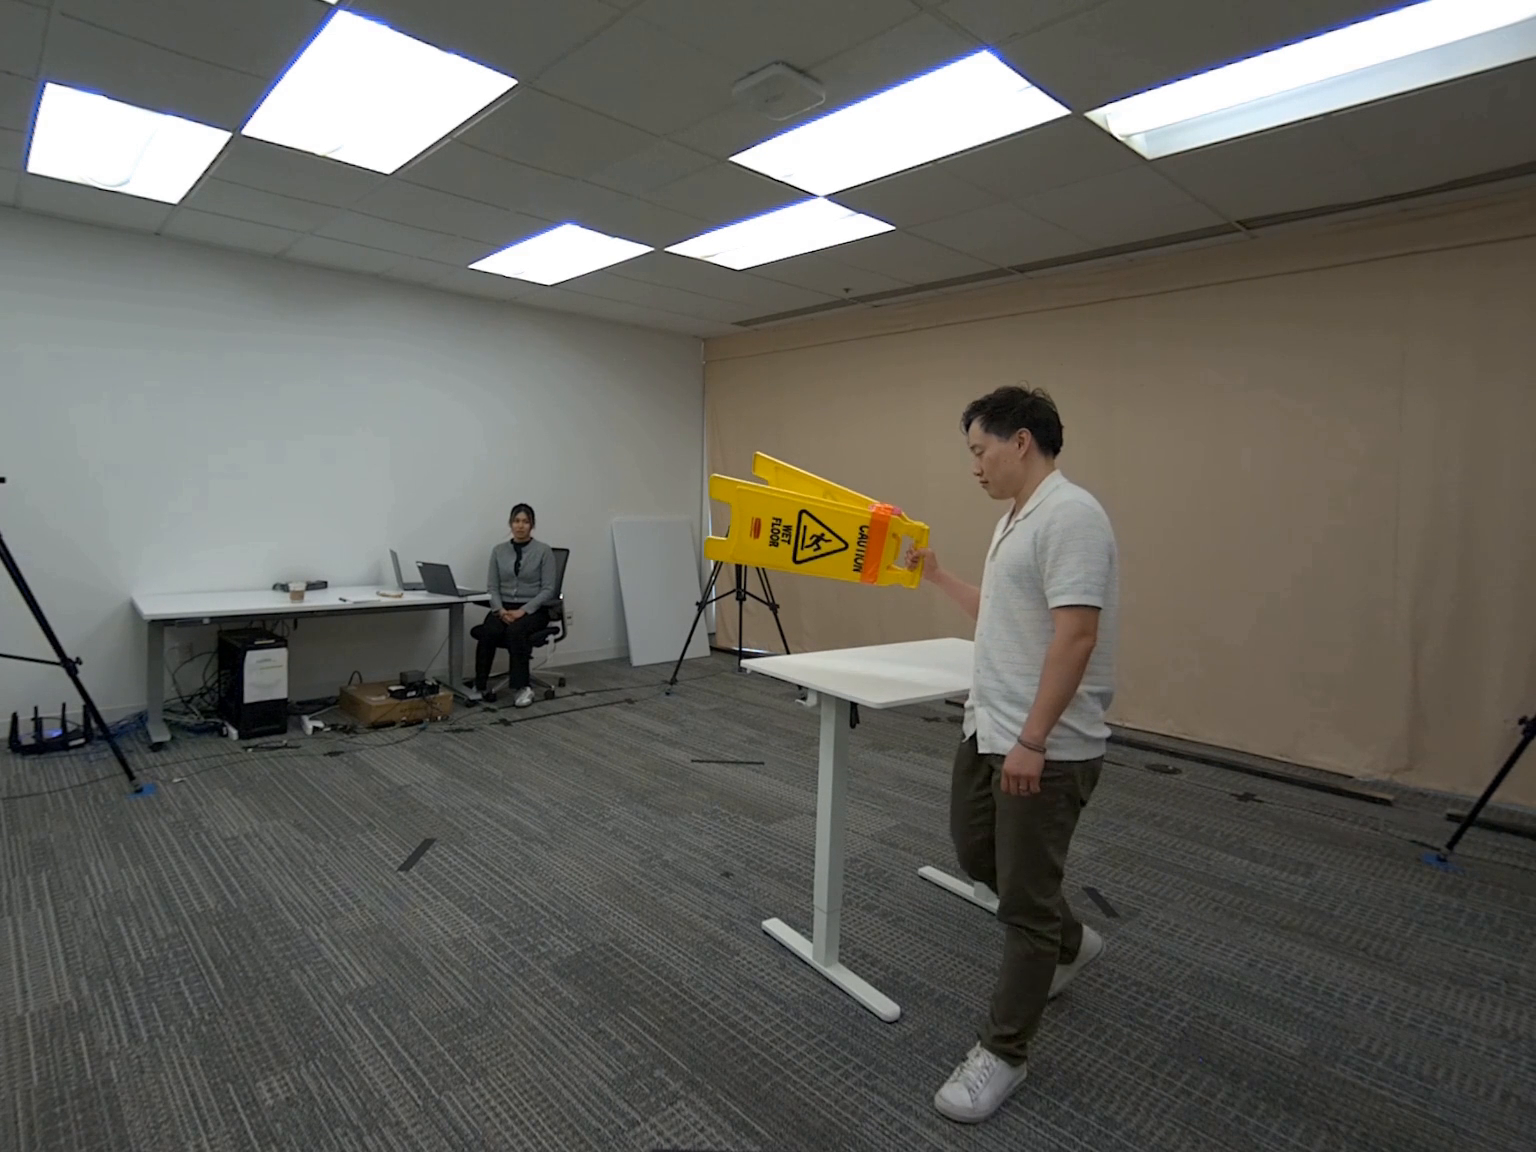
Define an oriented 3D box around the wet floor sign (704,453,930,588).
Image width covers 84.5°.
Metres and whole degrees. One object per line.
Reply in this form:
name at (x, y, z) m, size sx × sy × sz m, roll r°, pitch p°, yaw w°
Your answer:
wet floor sign at (0.163, -0.139, 2.558) m, size 0.660 × 0.278 × 0.288 m, roll 18°, pitch 27°, yaw 23°
